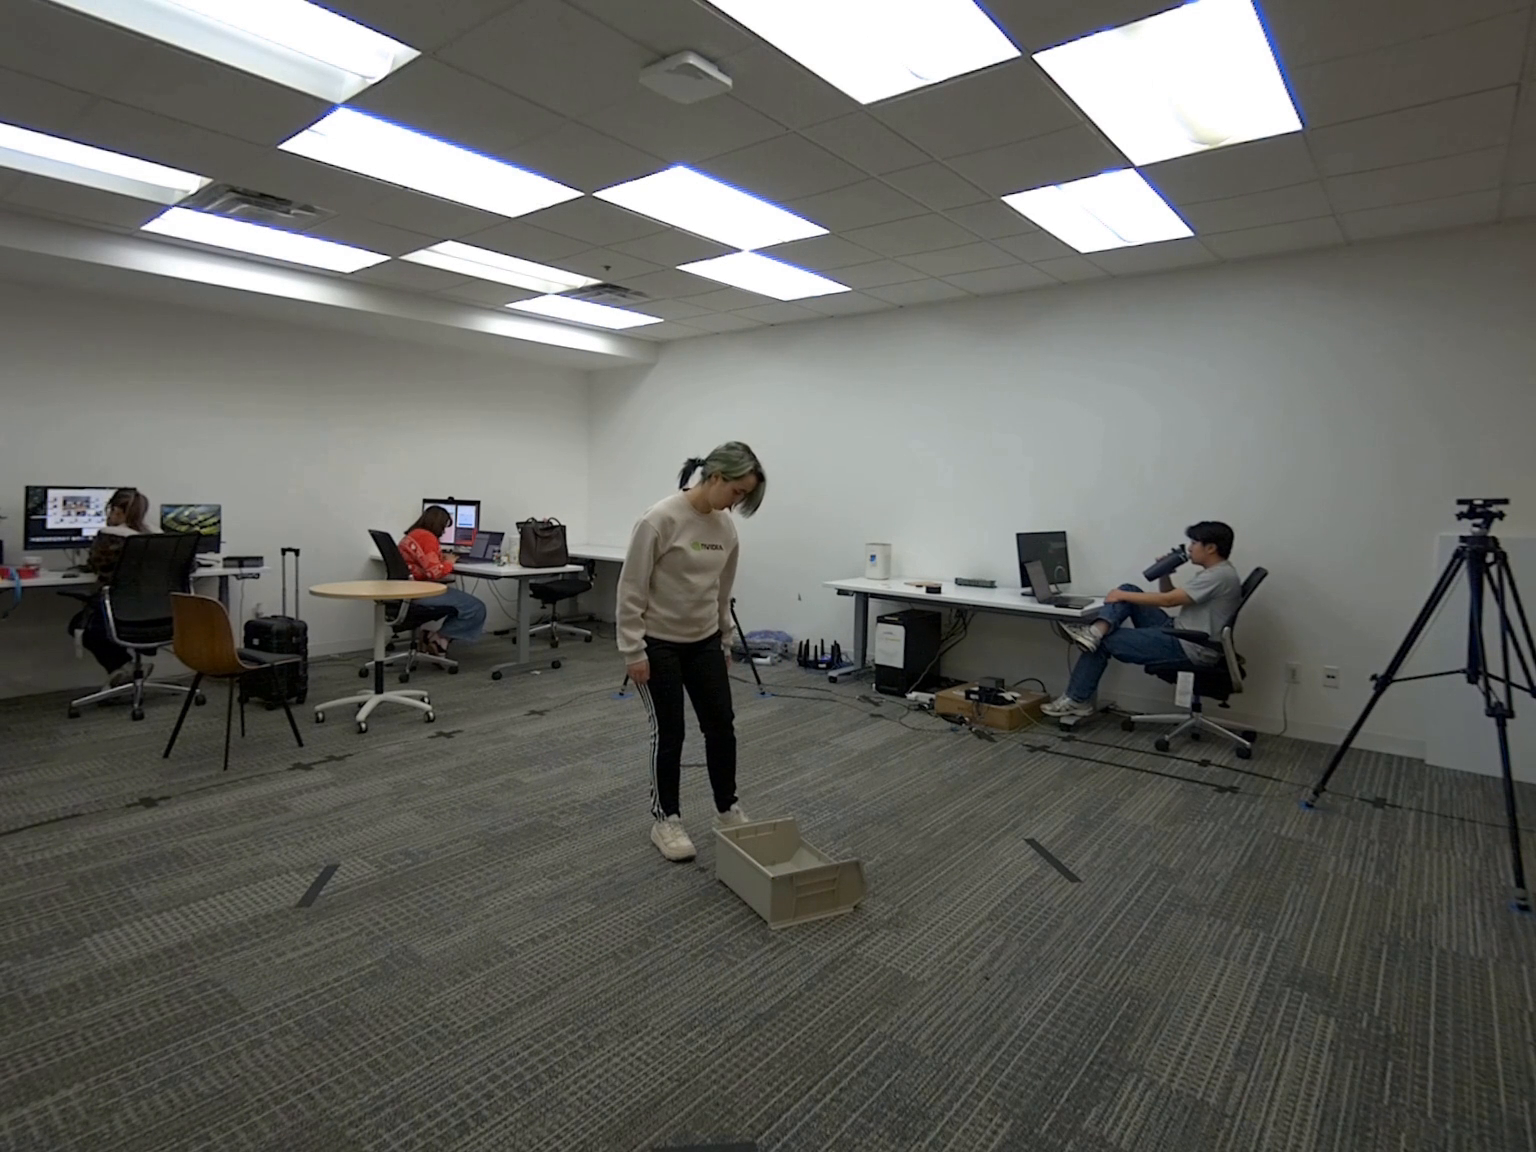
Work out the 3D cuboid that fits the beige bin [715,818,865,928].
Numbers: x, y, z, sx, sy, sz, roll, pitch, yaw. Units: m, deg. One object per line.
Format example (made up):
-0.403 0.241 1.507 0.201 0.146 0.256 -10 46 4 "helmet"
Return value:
0.062 1.003 2.939 0.368 0.188 0.435 -2 7 -29 "beige bin"
